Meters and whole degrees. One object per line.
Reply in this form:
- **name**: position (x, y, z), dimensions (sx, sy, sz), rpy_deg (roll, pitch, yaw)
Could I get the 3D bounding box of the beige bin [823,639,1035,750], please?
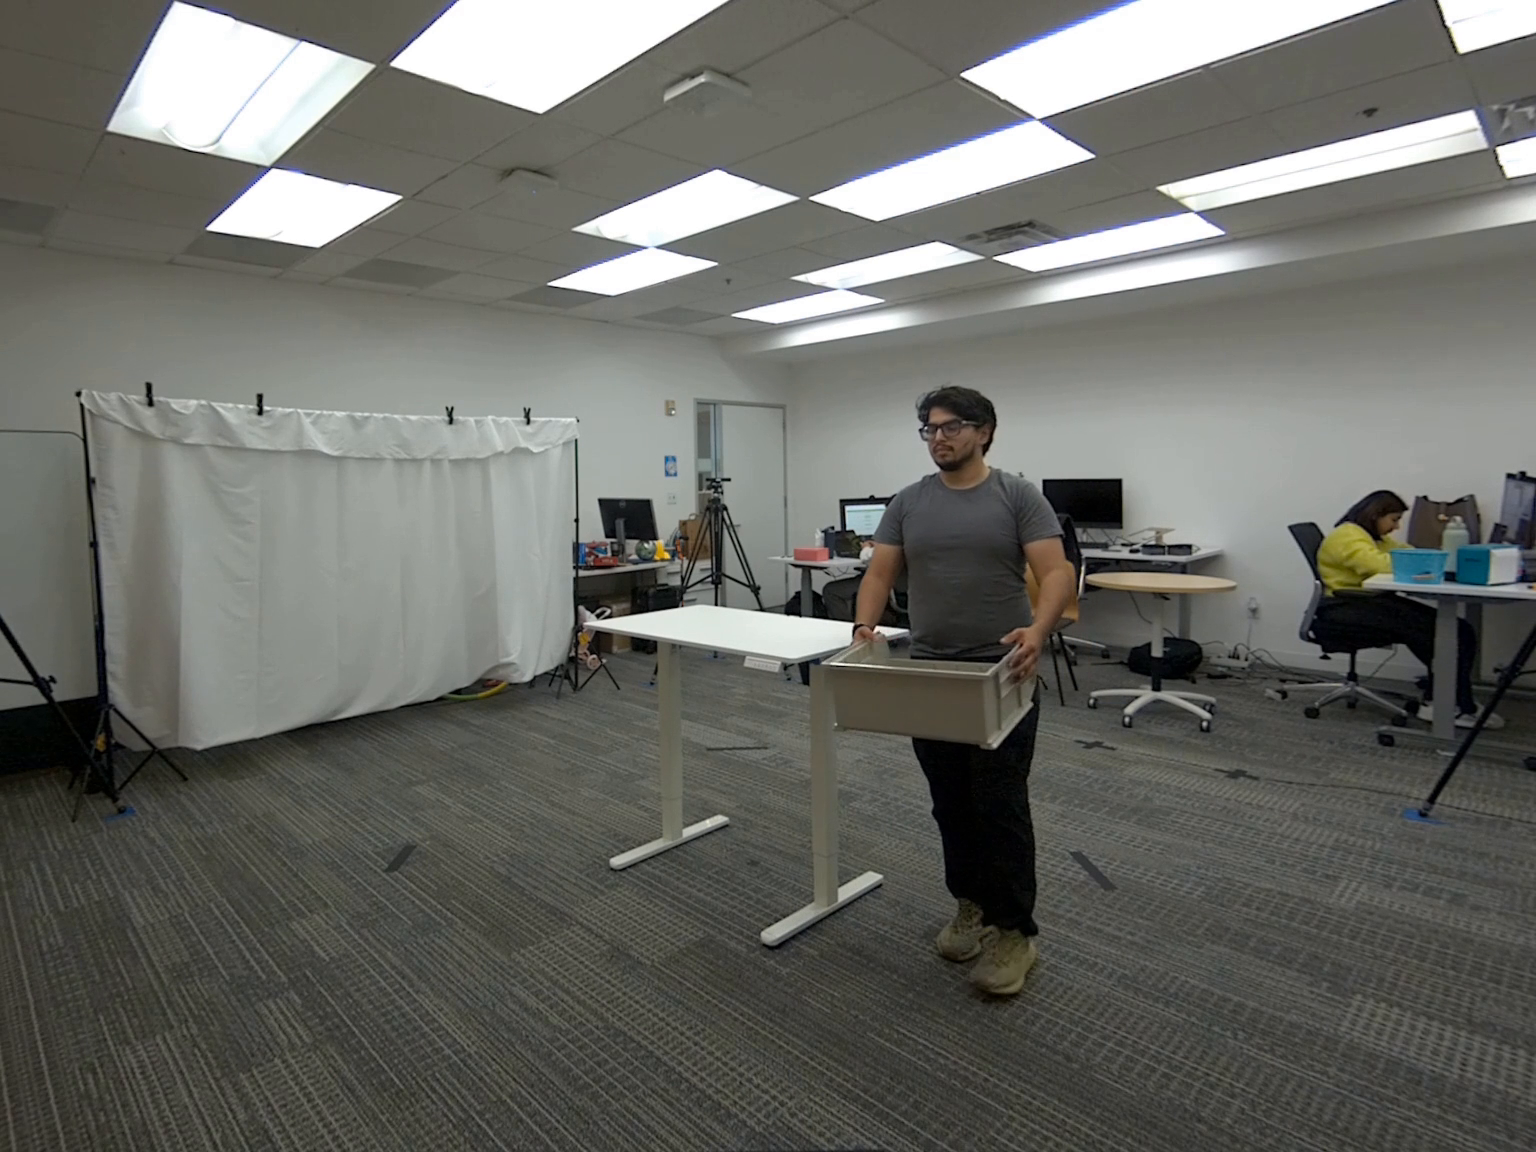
- **beige bin**: position (0.410, 0.270, 2.173), dimensions (0.434, 0.187, 0.371), rpy_deg (0, 13, 35)
